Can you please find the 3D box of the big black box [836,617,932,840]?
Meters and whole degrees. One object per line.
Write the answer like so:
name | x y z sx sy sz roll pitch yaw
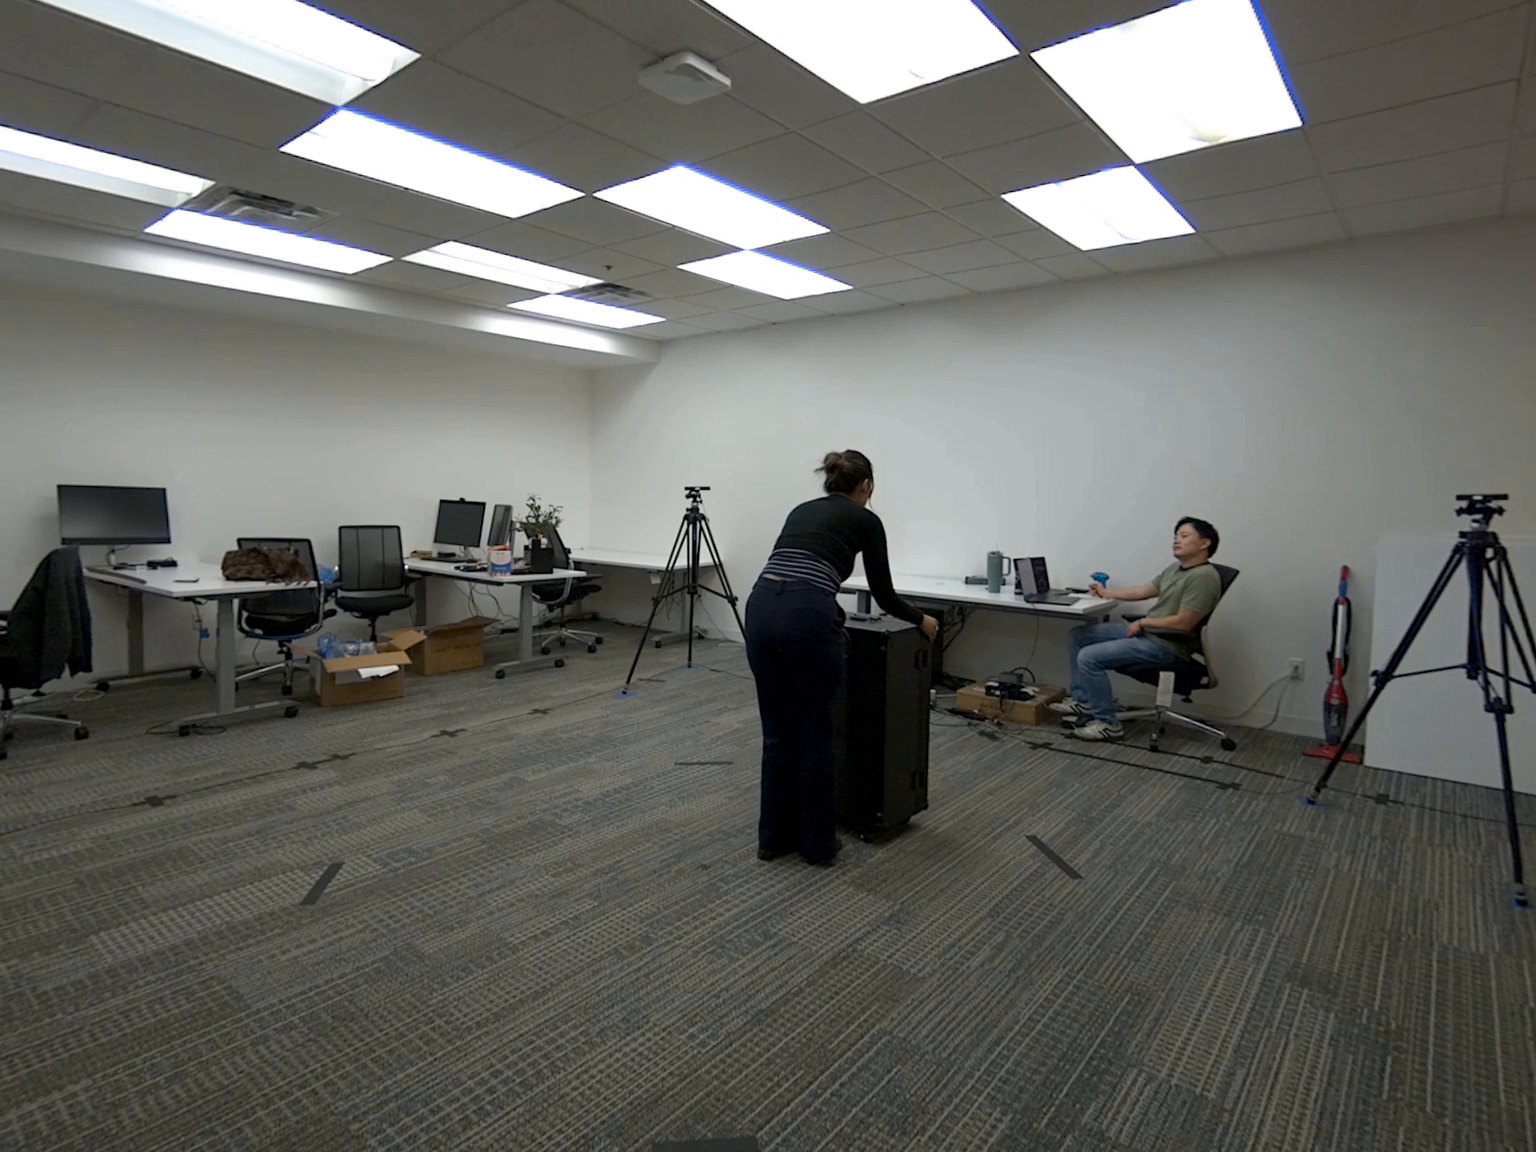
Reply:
big black box | 0.370 0.607 3.555 0.539 0.858 0.385 4 5 41
